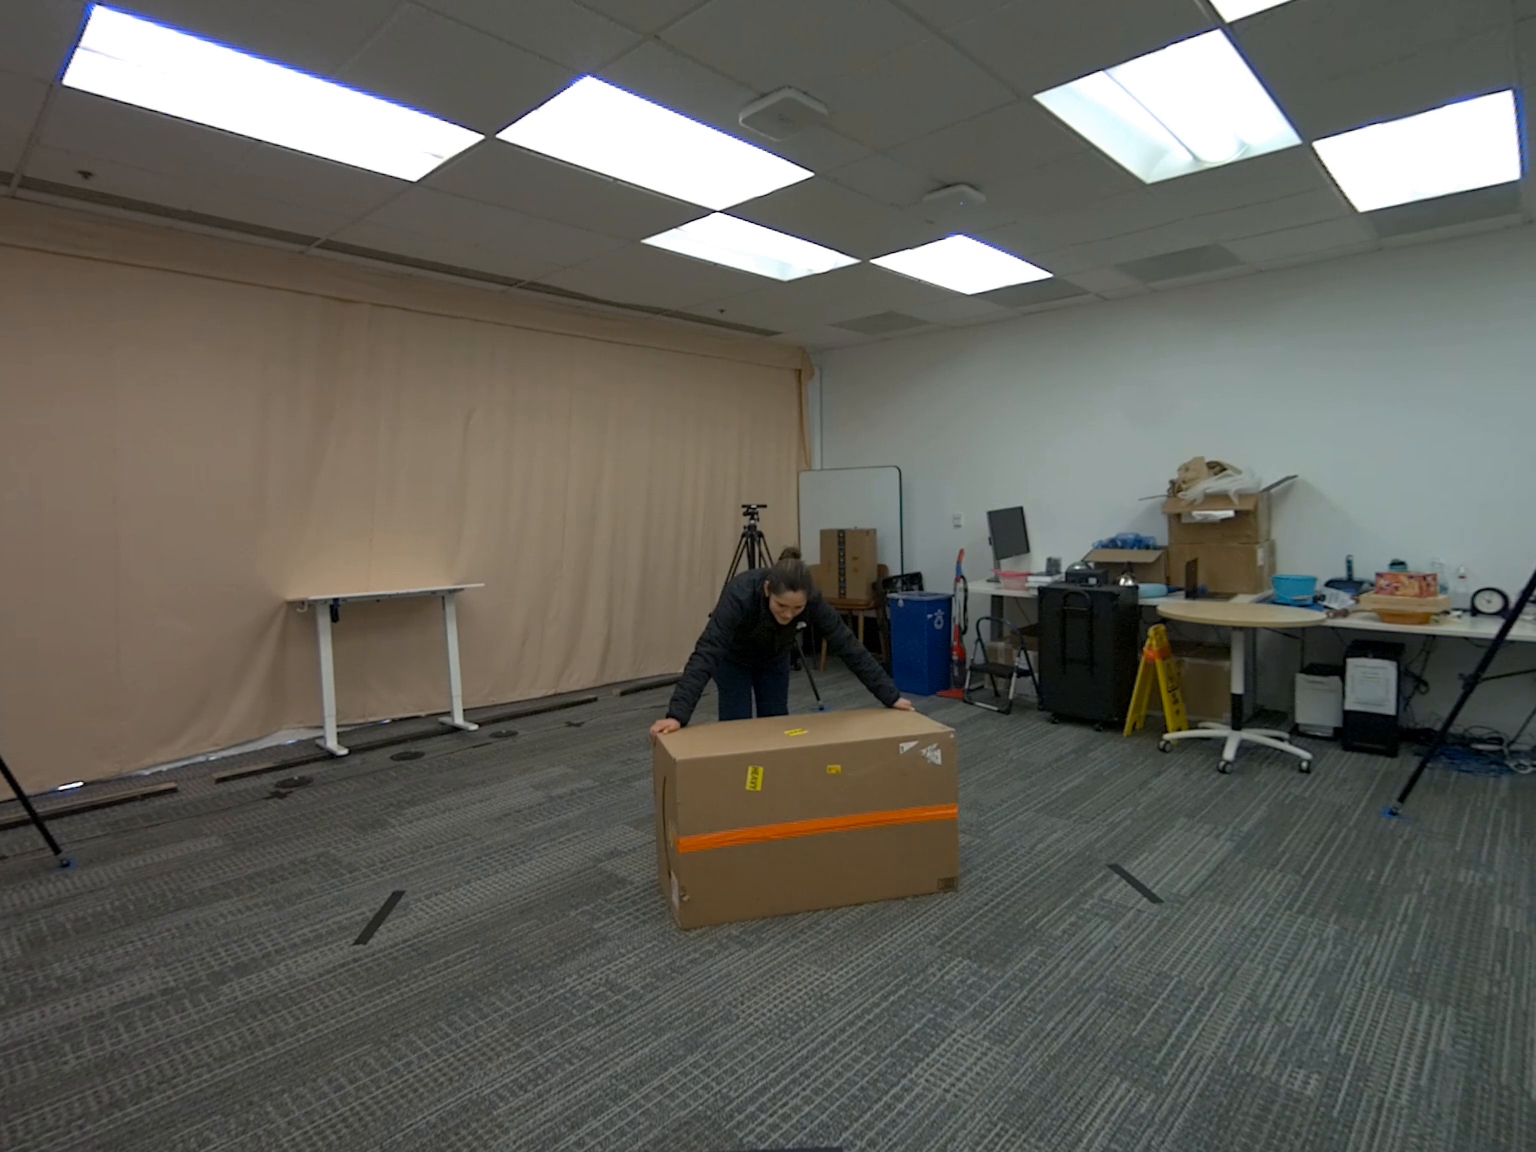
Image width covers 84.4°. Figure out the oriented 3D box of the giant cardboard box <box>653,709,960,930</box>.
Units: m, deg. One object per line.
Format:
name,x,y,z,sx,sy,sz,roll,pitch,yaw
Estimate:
giant cardboard box,0.135,0.842,3.074,1.011,0.582,0.455,-3,4,-16
